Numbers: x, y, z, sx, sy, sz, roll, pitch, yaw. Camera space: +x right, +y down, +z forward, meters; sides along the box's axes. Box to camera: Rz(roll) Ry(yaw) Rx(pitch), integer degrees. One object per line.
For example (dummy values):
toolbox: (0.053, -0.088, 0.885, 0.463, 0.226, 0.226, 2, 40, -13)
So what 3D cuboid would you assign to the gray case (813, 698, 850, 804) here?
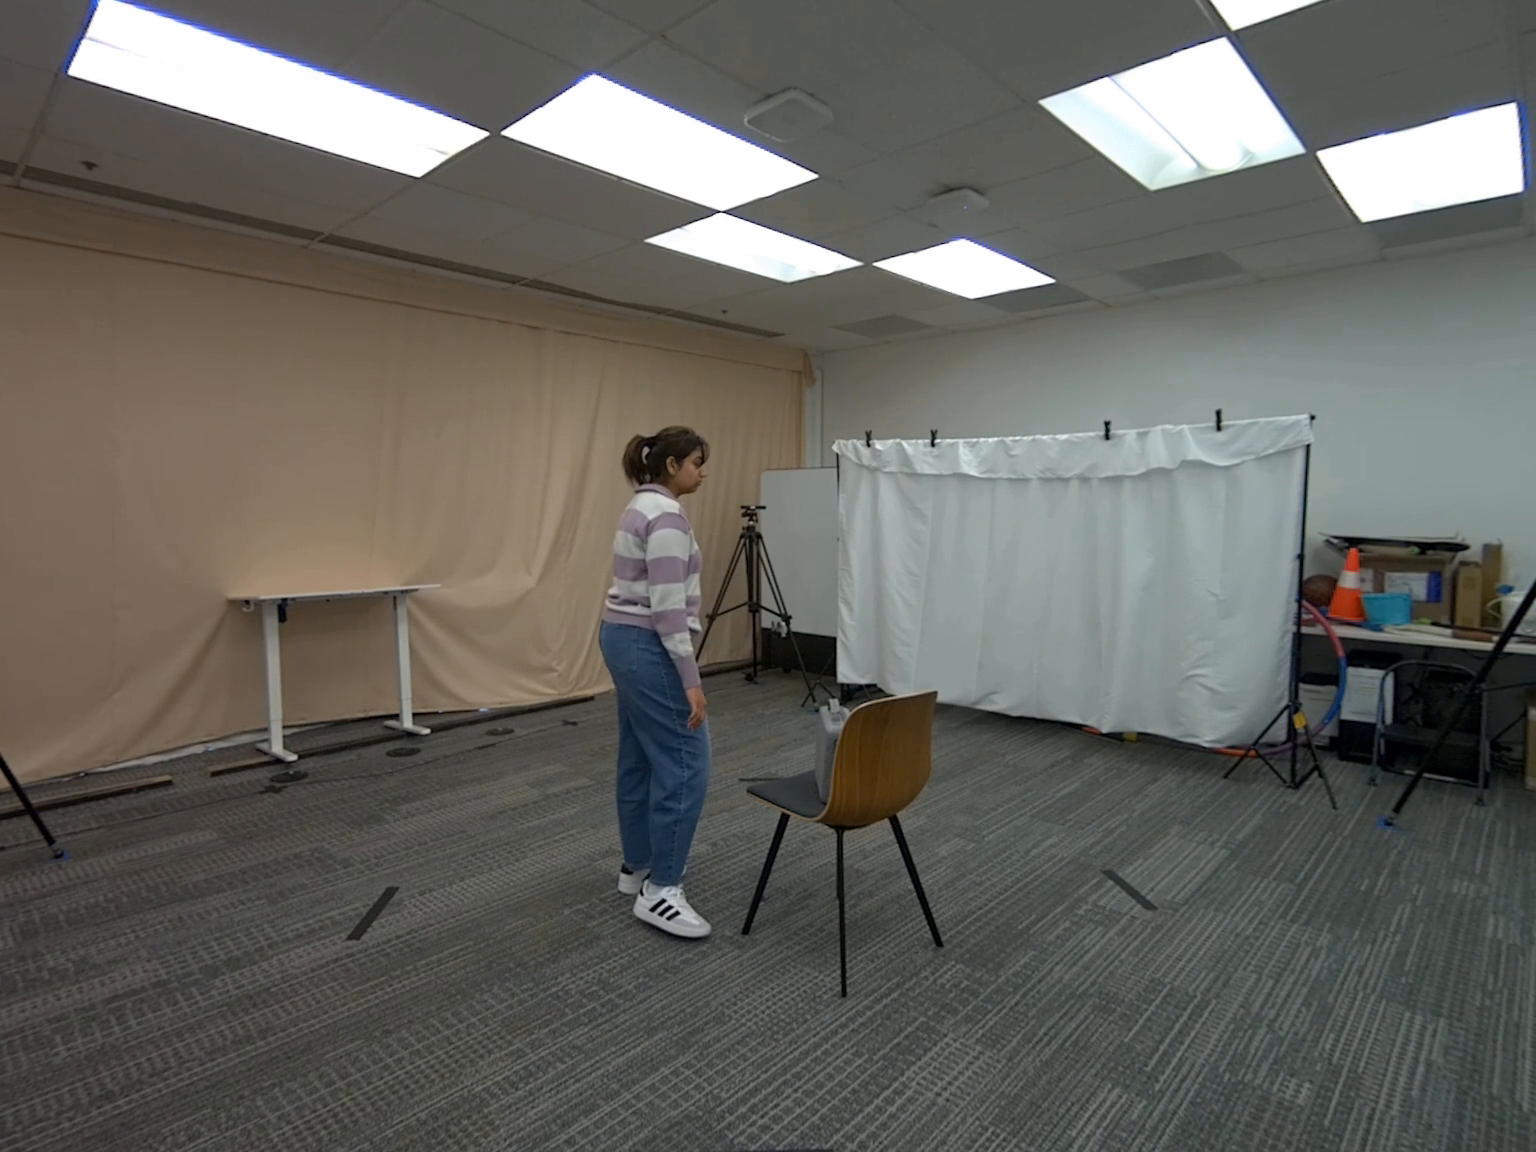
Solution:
gray case: (0.224, 0.560, 2.664, 0.104, 0.260, 0.259, 2, 6, -6)
